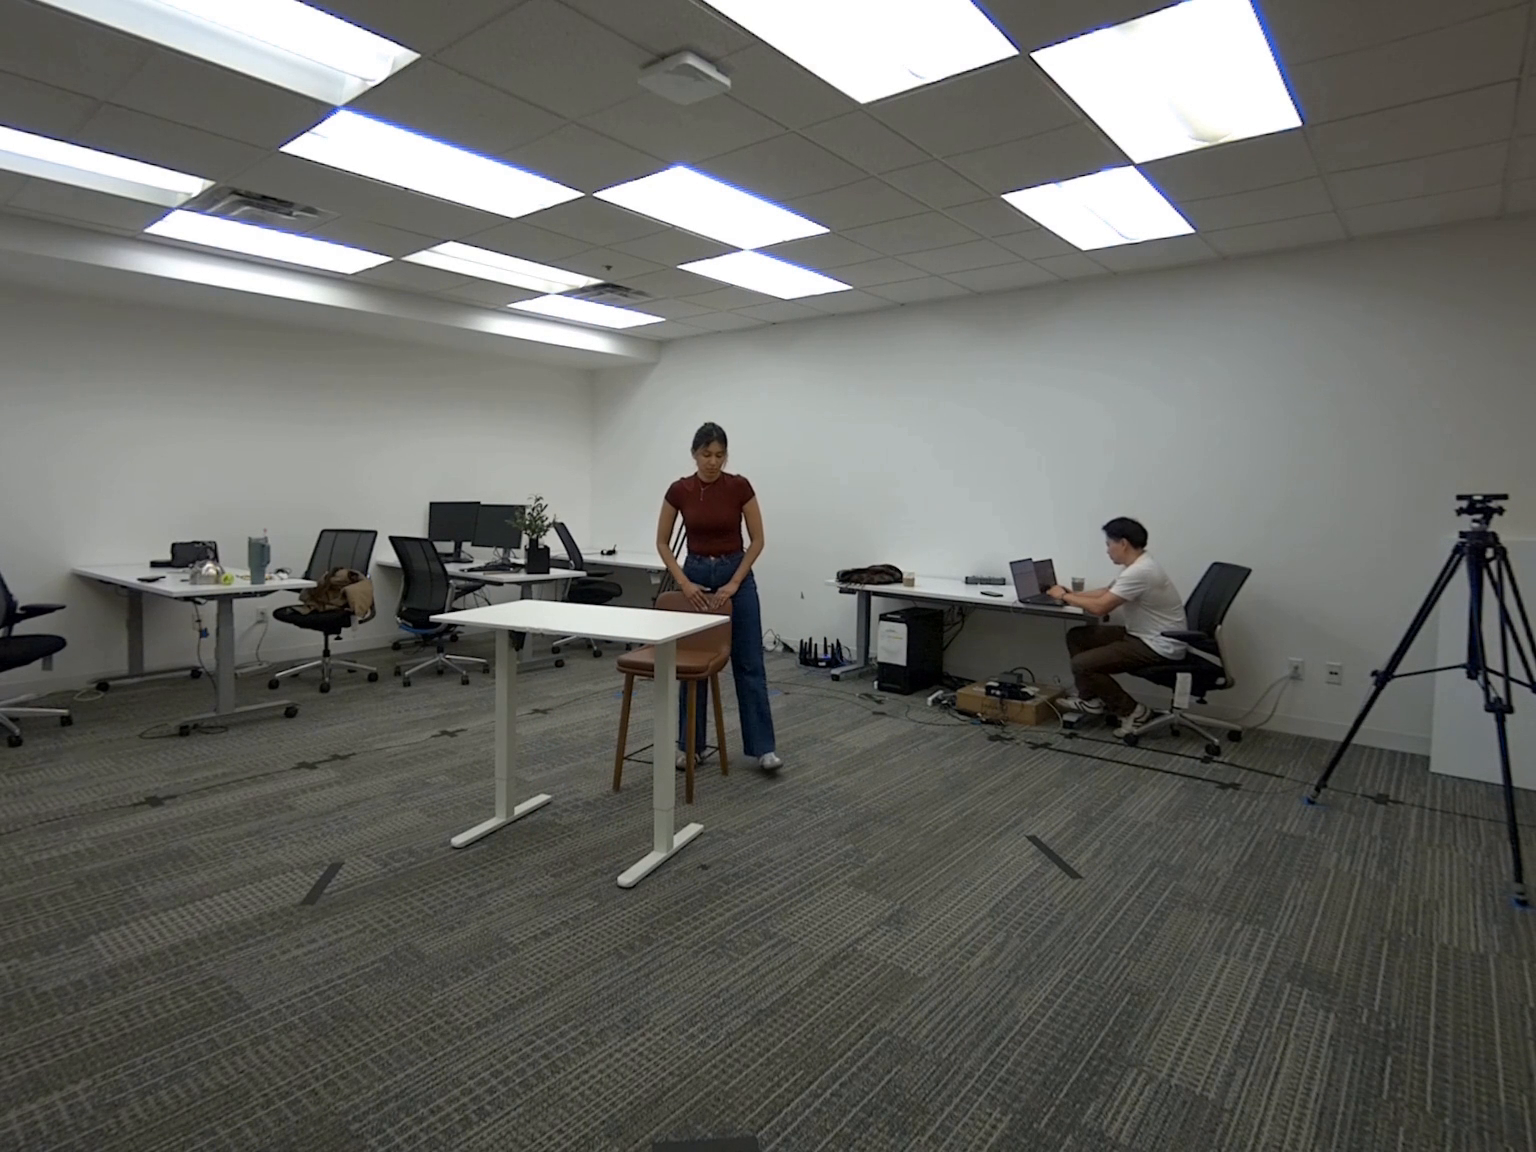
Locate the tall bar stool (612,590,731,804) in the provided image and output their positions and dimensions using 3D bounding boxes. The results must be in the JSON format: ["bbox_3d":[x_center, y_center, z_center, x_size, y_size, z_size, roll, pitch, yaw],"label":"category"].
[{"bbox_3d":[-0.452,0.534,4.009,0.468,0.890,0.456,1,0,24],"label":"tall bar stool"}]
